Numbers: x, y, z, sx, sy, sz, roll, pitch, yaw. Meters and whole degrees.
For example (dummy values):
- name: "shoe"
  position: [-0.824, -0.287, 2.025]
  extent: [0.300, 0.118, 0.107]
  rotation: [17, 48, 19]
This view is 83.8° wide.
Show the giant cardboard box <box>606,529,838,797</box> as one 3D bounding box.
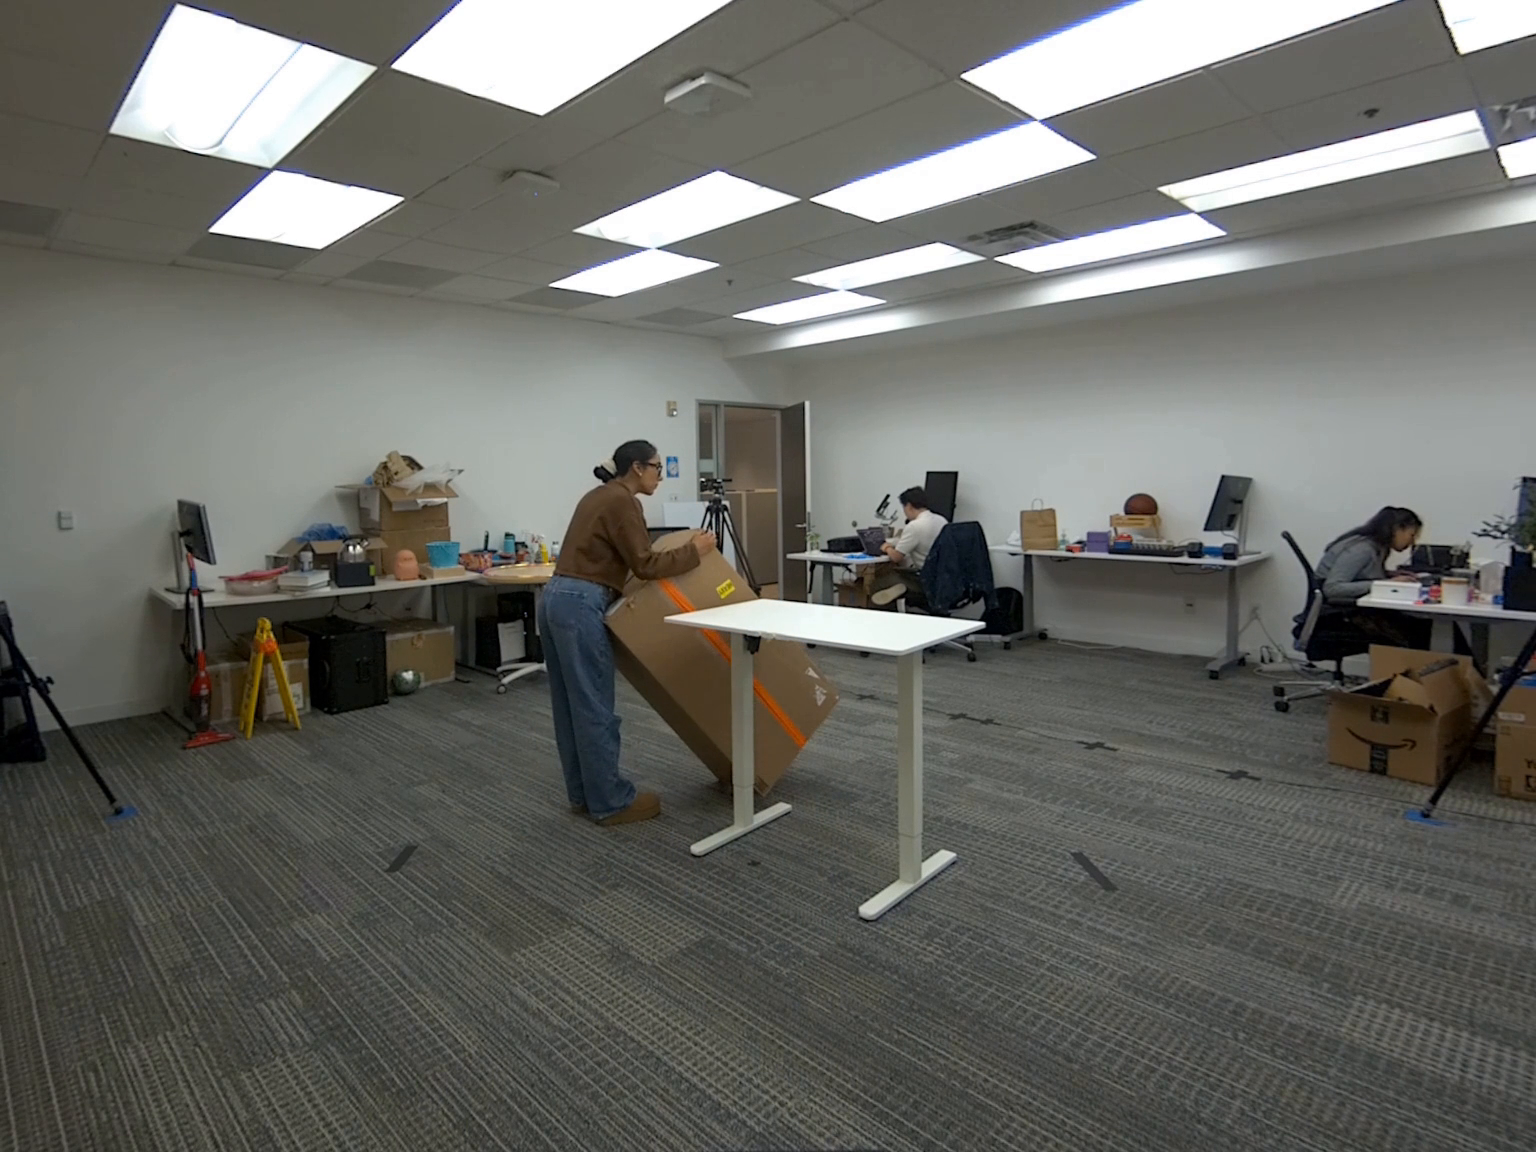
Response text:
- name: "giant cardboard box"
  position: [-0.248, 0.381, 3.798]
  extent: [0.577, 1.007, 0.434]
  rotation: [-46, 16, -24]
